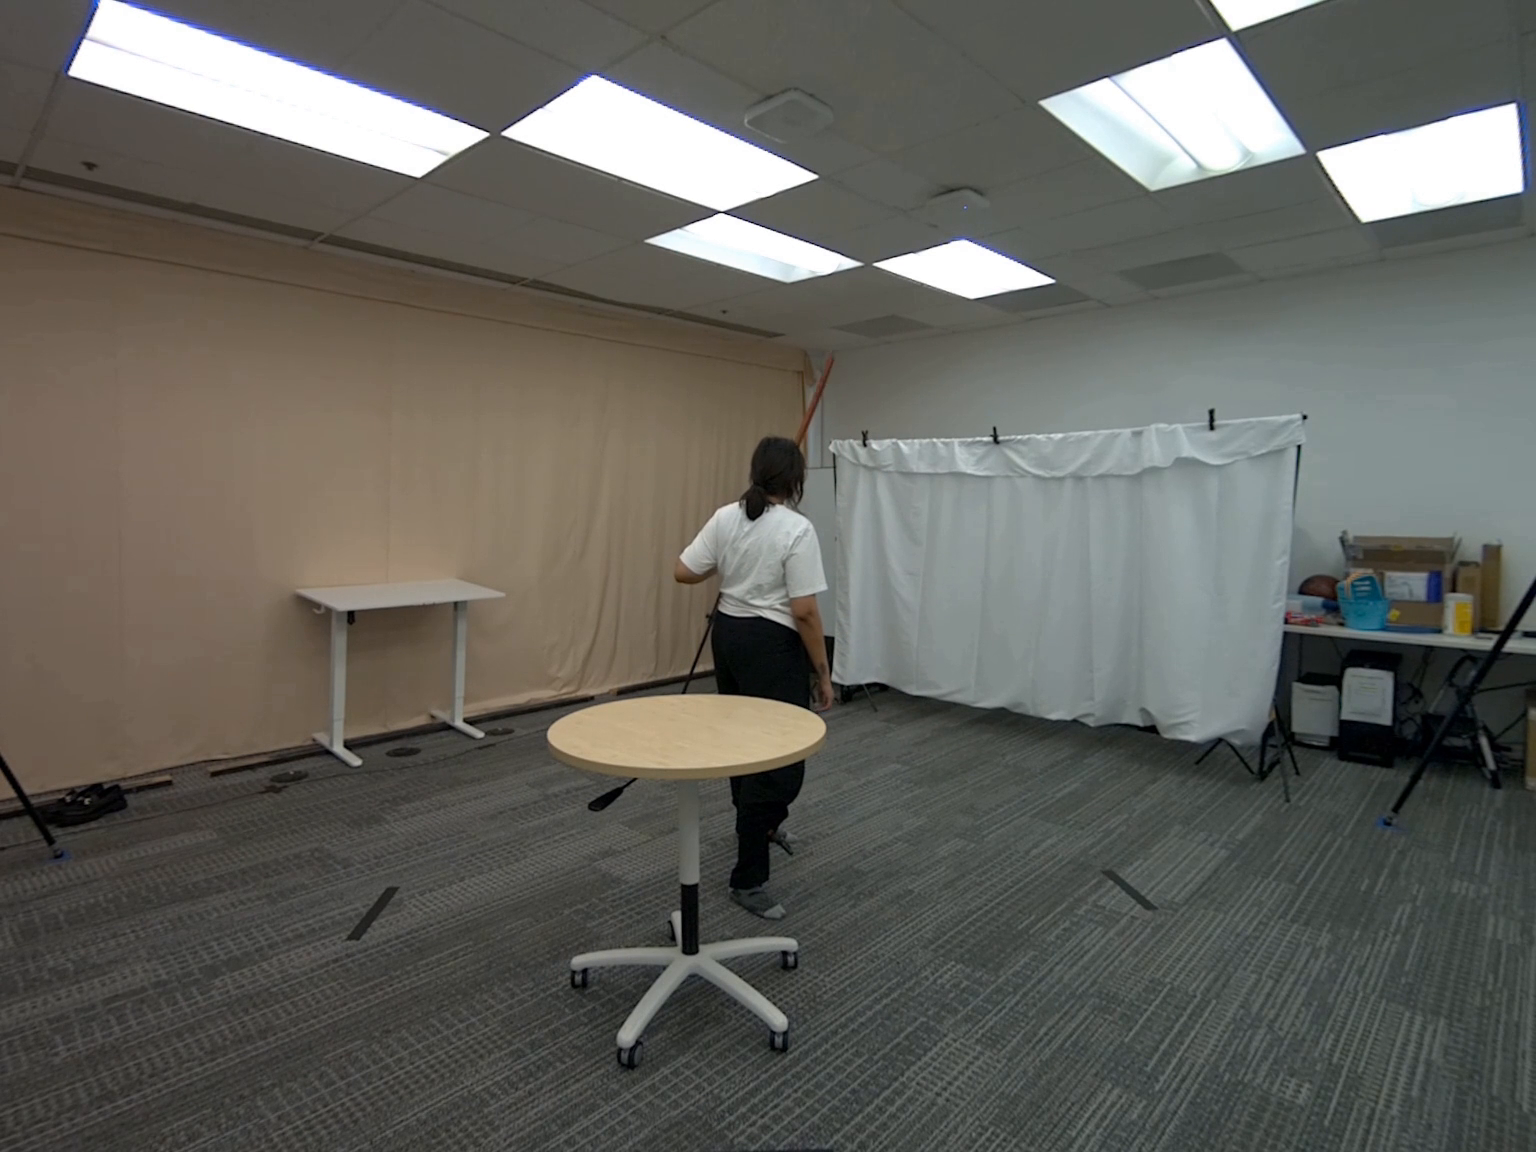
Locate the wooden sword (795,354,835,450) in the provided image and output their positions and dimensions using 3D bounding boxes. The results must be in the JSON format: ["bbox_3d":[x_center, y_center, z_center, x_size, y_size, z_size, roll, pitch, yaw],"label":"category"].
[{"bbox_3d":[0.091,-0.464,3.504,0.049,1.025,0.025,29,-8,-37],"label":"wooden sword"}]
